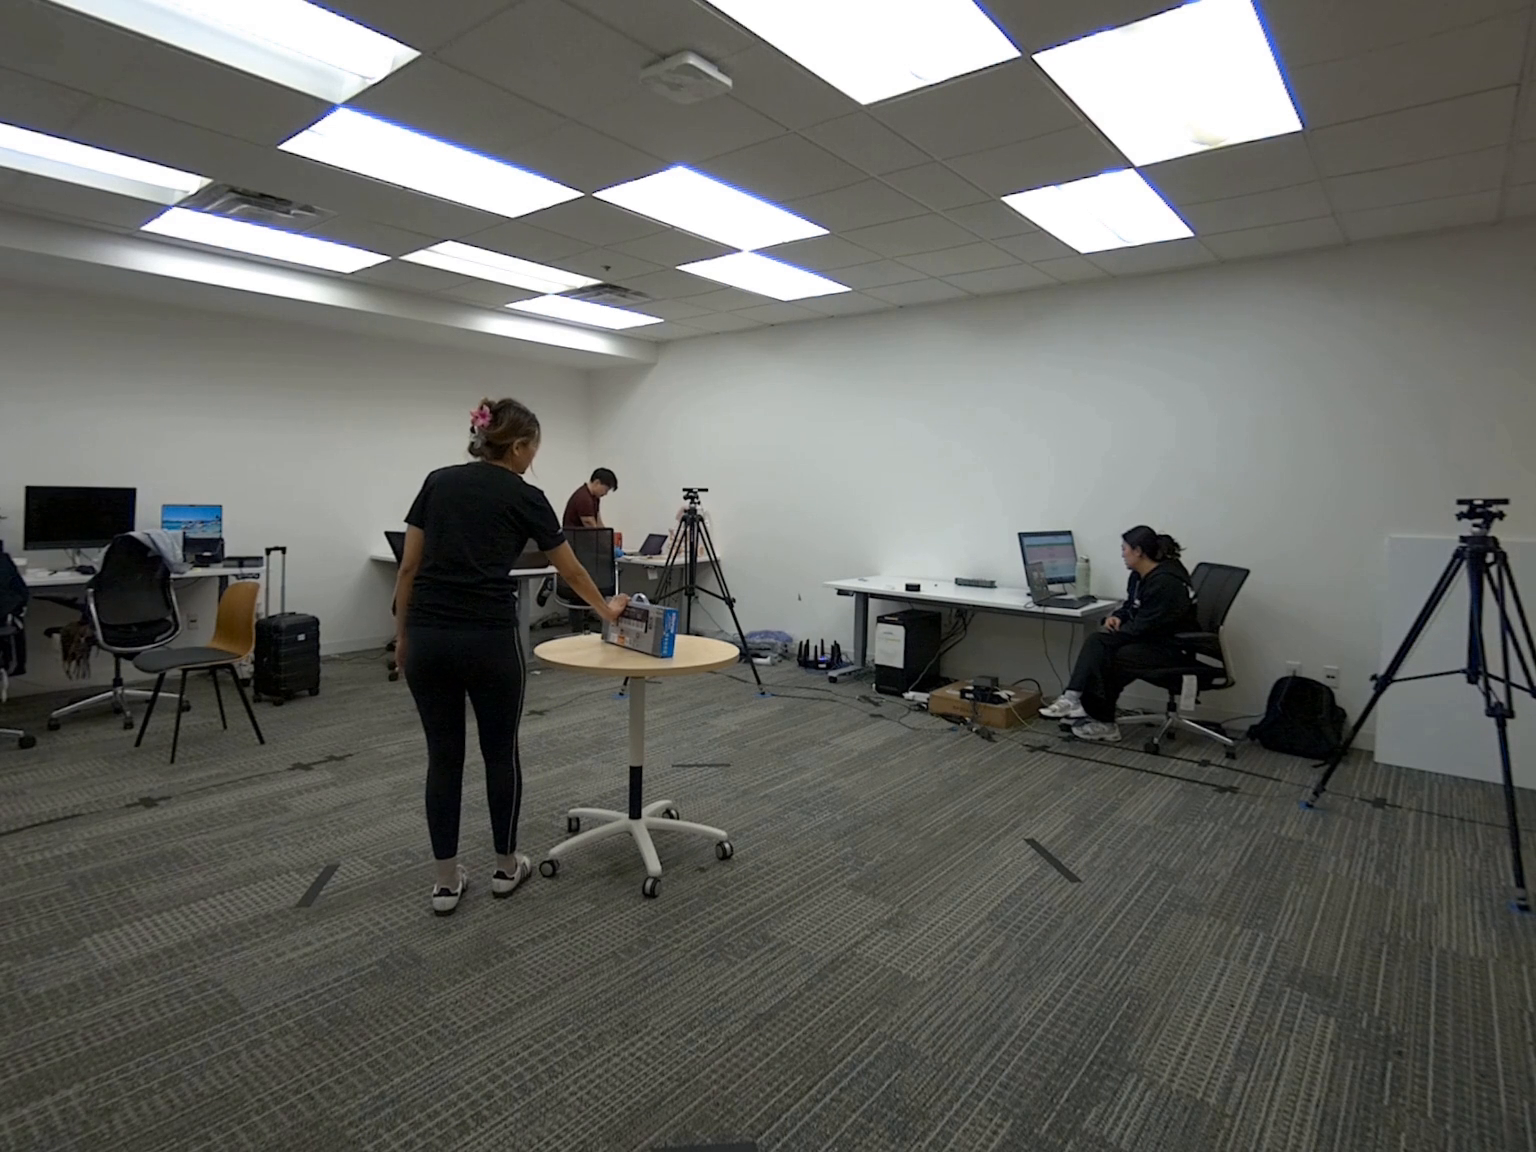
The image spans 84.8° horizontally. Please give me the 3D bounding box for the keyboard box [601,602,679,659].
[{"bbox_3d":[-0.503,0.189,3.195,0.057,0.176,0.451,8,-1,-39],"label":"keyboard box"}]
